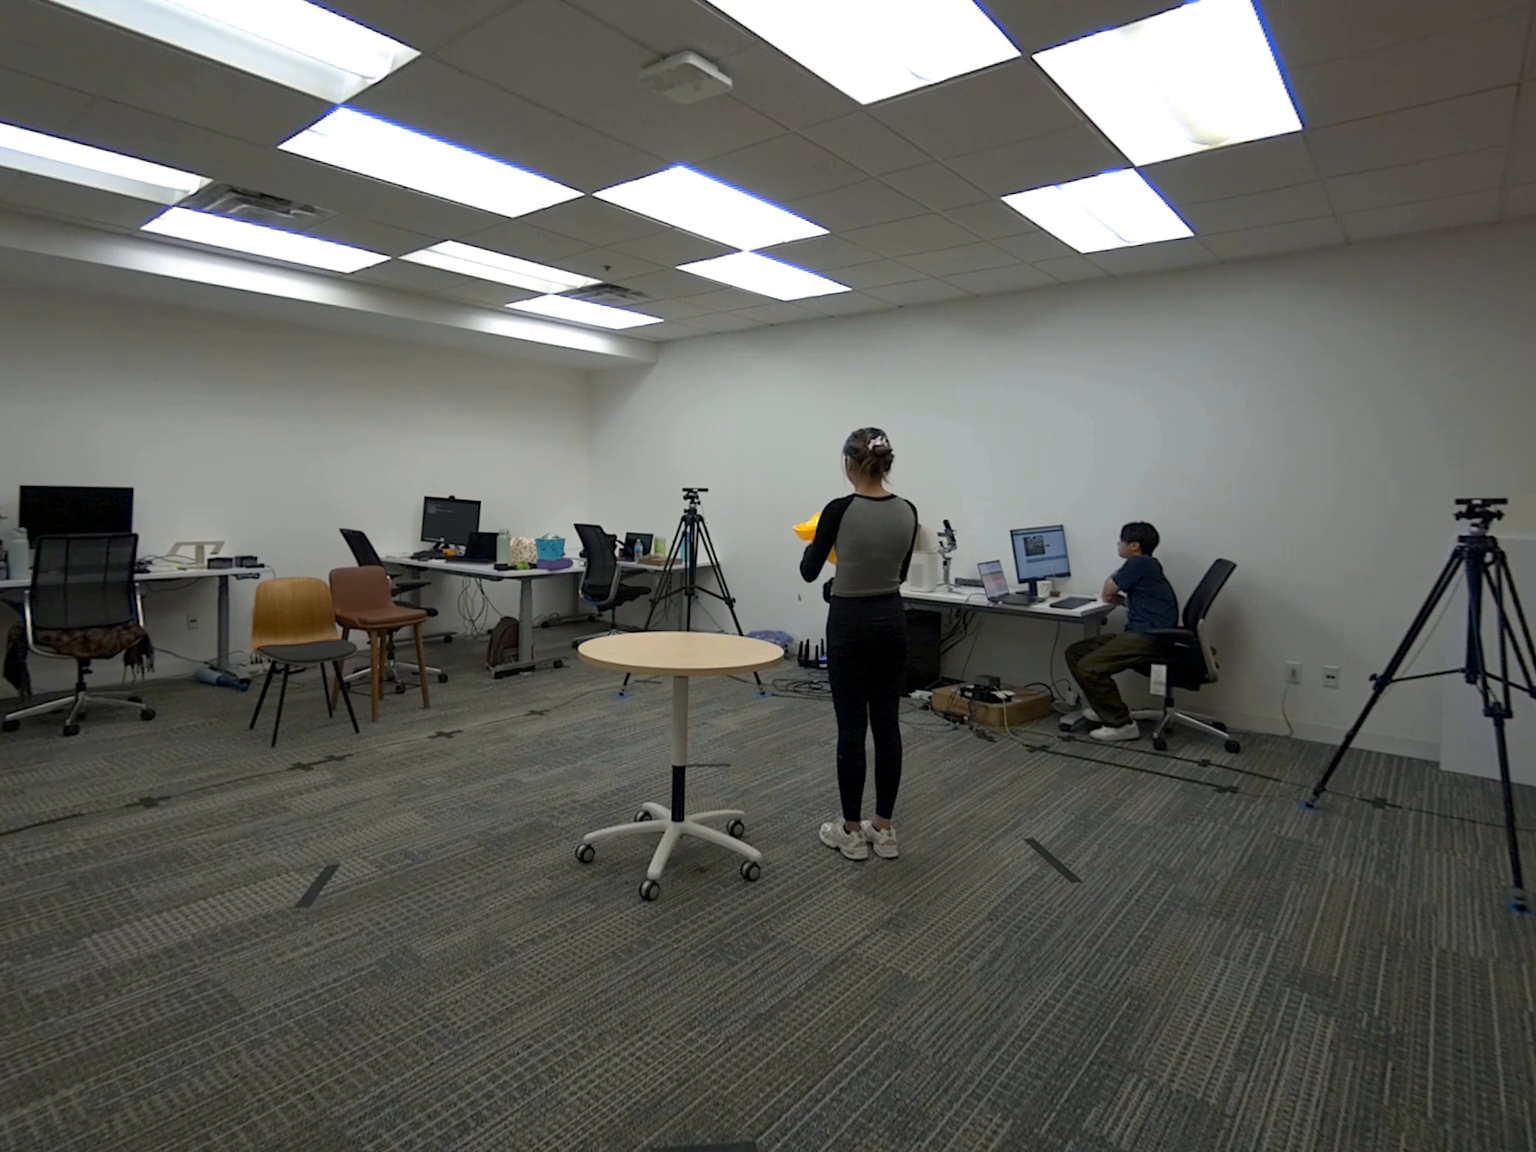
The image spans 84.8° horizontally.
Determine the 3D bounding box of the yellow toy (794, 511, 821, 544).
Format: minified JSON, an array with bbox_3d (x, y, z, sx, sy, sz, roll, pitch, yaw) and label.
[{"bbox_3d":[0.248,-0.142,3.693,0.202,0.226,0.199,-31,19,-33],"label":"yellow toy"}]
